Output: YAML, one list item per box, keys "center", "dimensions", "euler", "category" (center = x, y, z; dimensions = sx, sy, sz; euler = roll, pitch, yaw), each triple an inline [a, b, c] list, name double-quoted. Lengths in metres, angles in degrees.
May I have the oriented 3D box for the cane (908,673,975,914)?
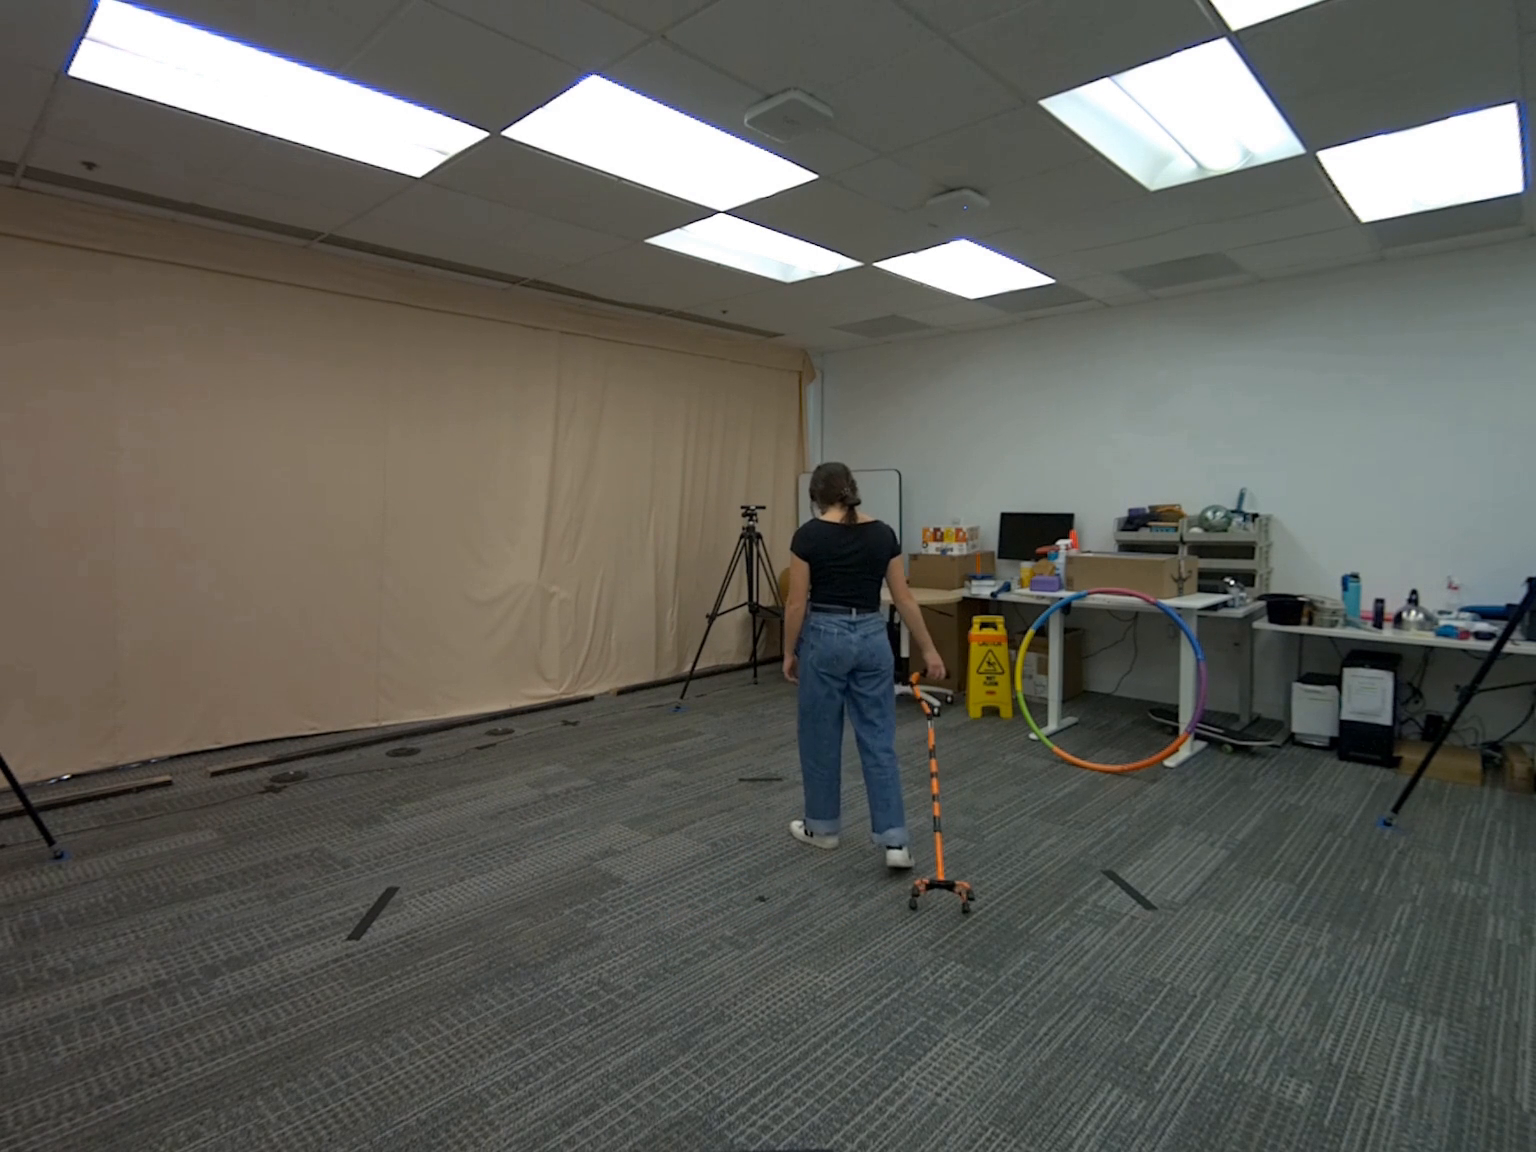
- center: [0.633, 0.754, 3.118]
  dimensions: [0.209, 0.920, 0.148]
  euler: [0, -40, 8]
  category: "cane"
